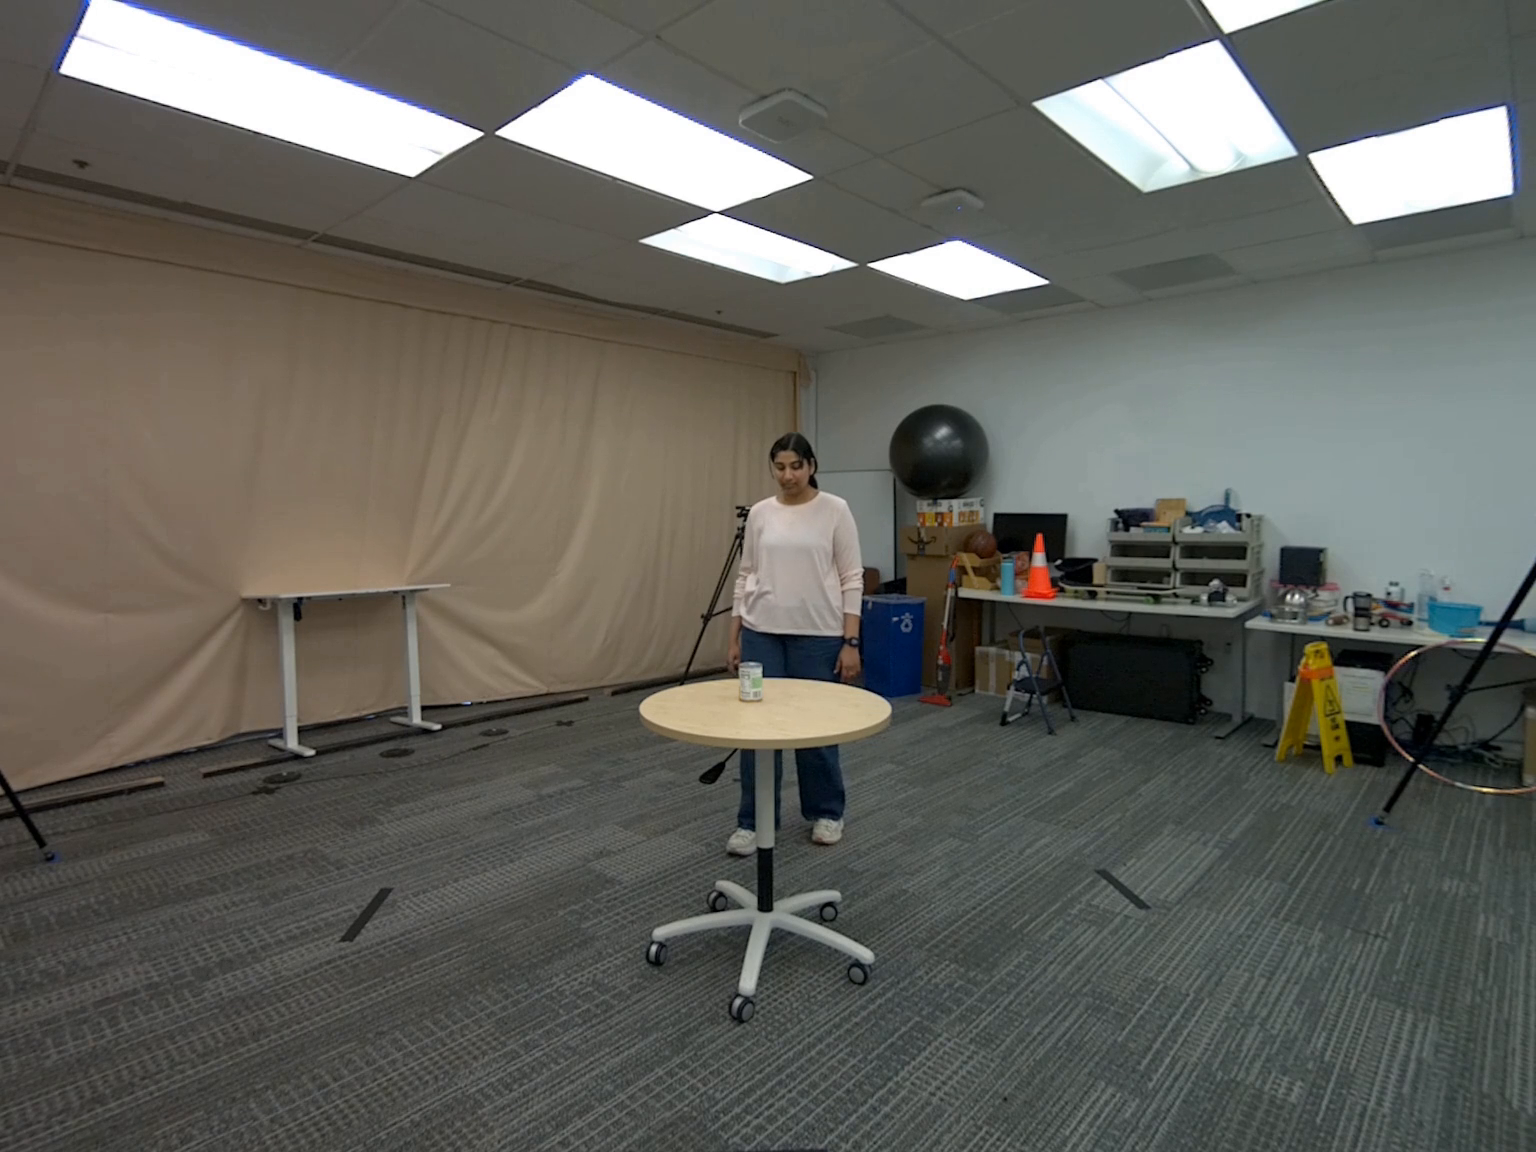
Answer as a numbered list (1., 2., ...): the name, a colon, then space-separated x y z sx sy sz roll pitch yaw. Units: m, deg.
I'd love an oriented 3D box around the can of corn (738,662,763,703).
1. can of corn: -0.055 0.333 2.642 0.074 0.111 0.074 -2 2 -2
